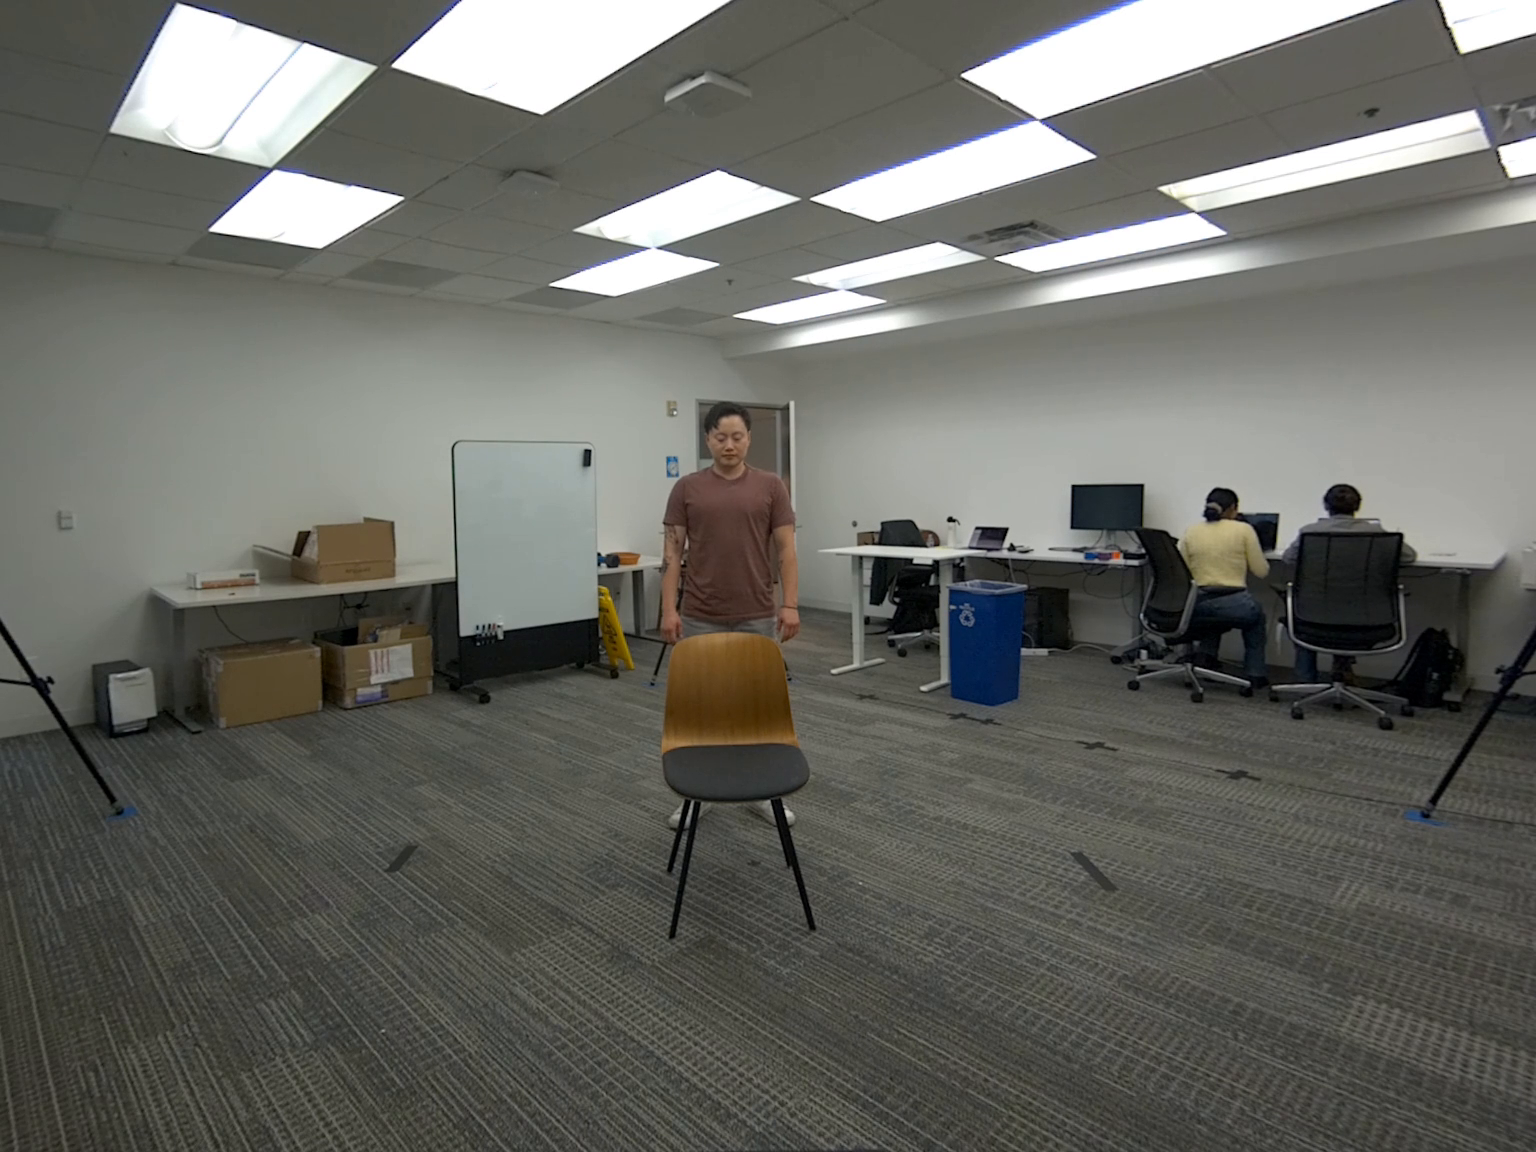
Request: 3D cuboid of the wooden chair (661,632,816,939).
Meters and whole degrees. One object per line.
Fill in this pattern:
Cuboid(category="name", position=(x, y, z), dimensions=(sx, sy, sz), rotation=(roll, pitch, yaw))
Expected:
Cuboid(category="wooden chair", position=(-0.111, 0.654, 2.798), dimensions=(0.475, 0.878, 0.526), rotation=(0, 0, -7))
